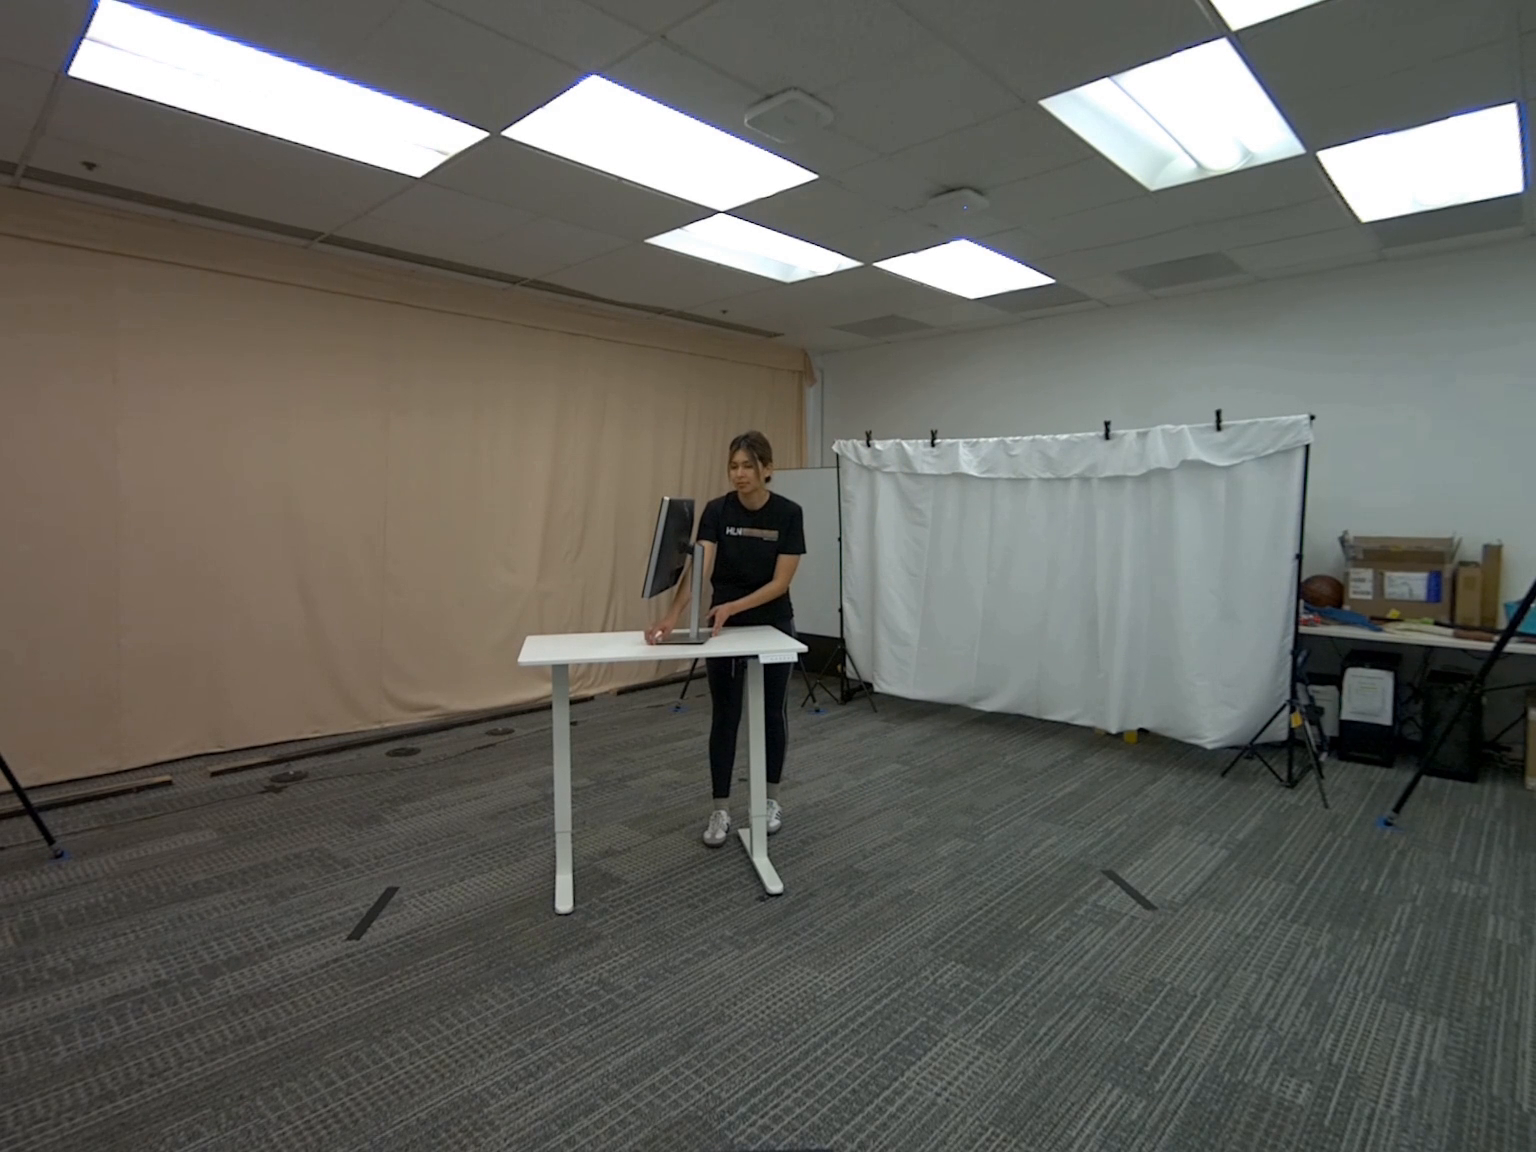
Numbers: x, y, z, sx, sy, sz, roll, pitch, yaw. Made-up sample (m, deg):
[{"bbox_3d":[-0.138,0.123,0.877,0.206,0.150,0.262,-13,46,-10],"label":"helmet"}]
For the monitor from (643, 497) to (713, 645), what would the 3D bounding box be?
[{"bbox_3d":[-0.335,-0.025,3.190,0.188,0.521,0.537,1,5,5],"label":"monitor"}]
